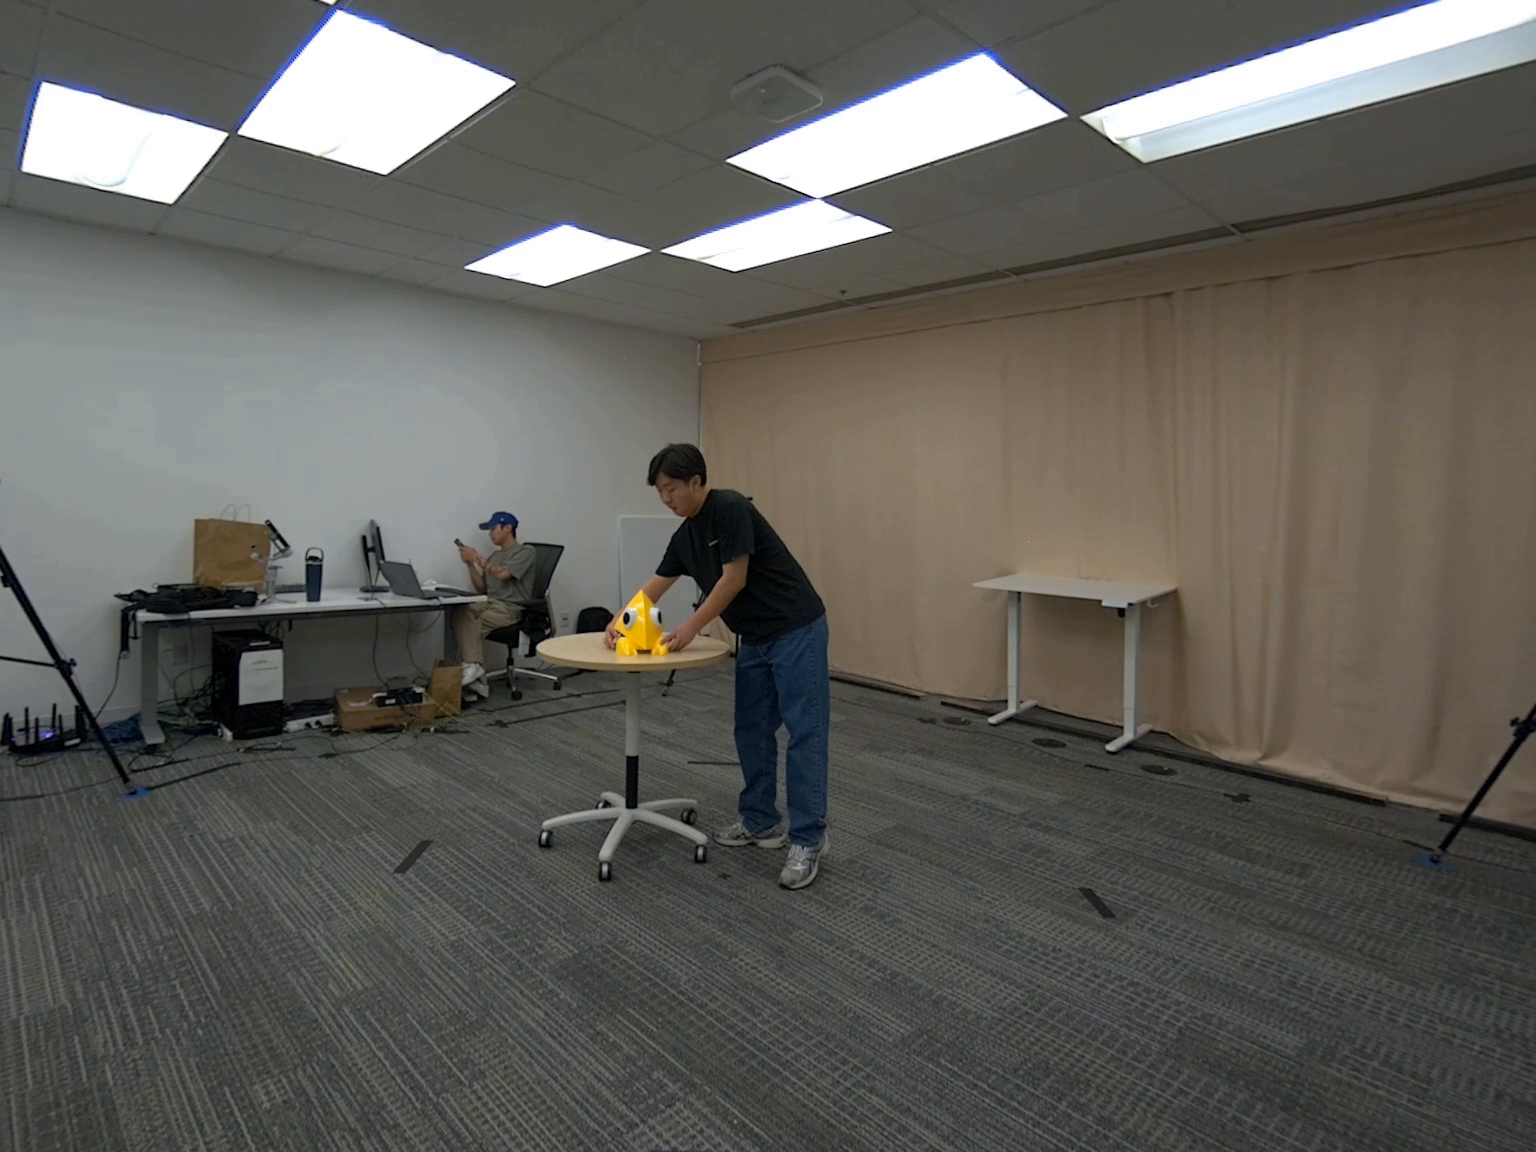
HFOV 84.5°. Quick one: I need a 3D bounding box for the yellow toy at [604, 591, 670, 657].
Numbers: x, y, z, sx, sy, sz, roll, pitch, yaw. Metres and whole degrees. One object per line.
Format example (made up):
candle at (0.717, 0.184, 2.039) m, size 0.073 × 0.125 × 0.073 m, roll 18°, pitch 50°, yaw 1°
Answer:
yellow toy at (-0.490, 0.177, 3.227) m, size 0.202 × 0.230 × 0.196 m, roll 1°, pitch 4°, yaw -16°
